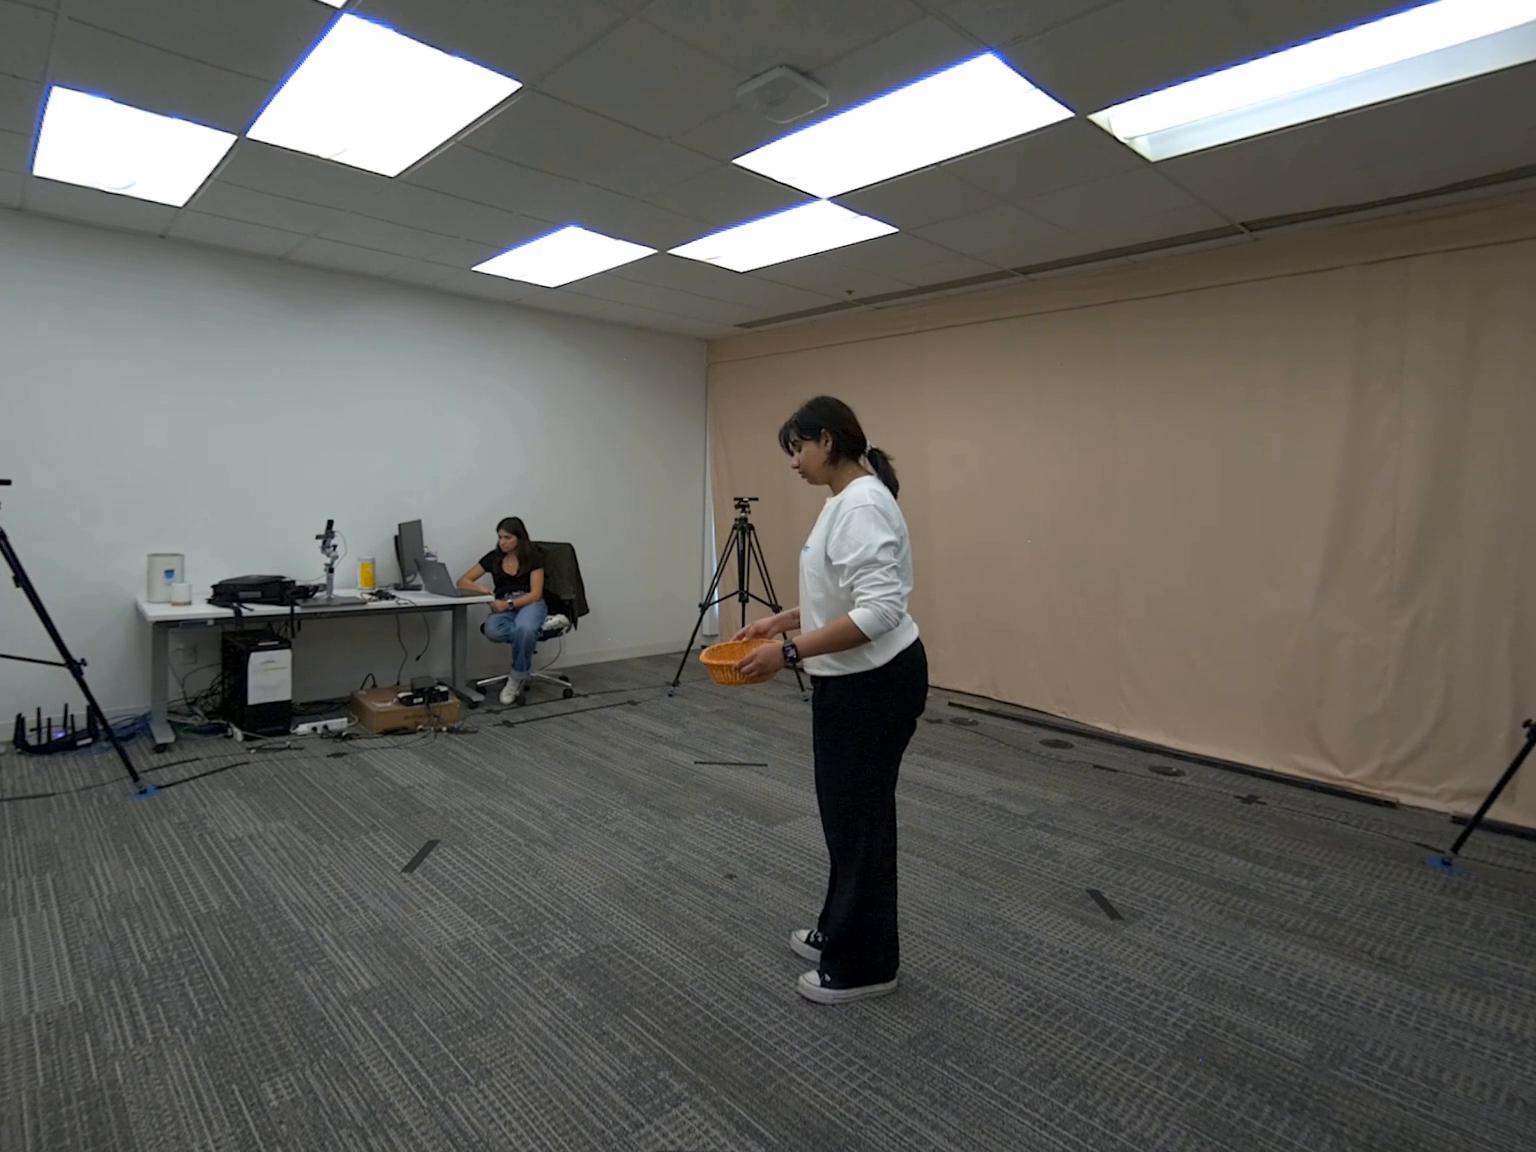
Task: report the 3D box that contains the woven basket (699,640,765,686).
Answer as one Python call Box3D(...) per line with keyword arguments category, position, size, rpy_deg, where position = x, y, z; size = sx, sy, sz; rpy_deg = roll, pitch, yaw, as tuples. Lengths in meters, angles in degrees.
Box3D(category="woven basket", position=(-0.062, 0.261, 2.400), size=(0.252, 0.073, 0.351), rpy_deg=(-4, 4, 0))
